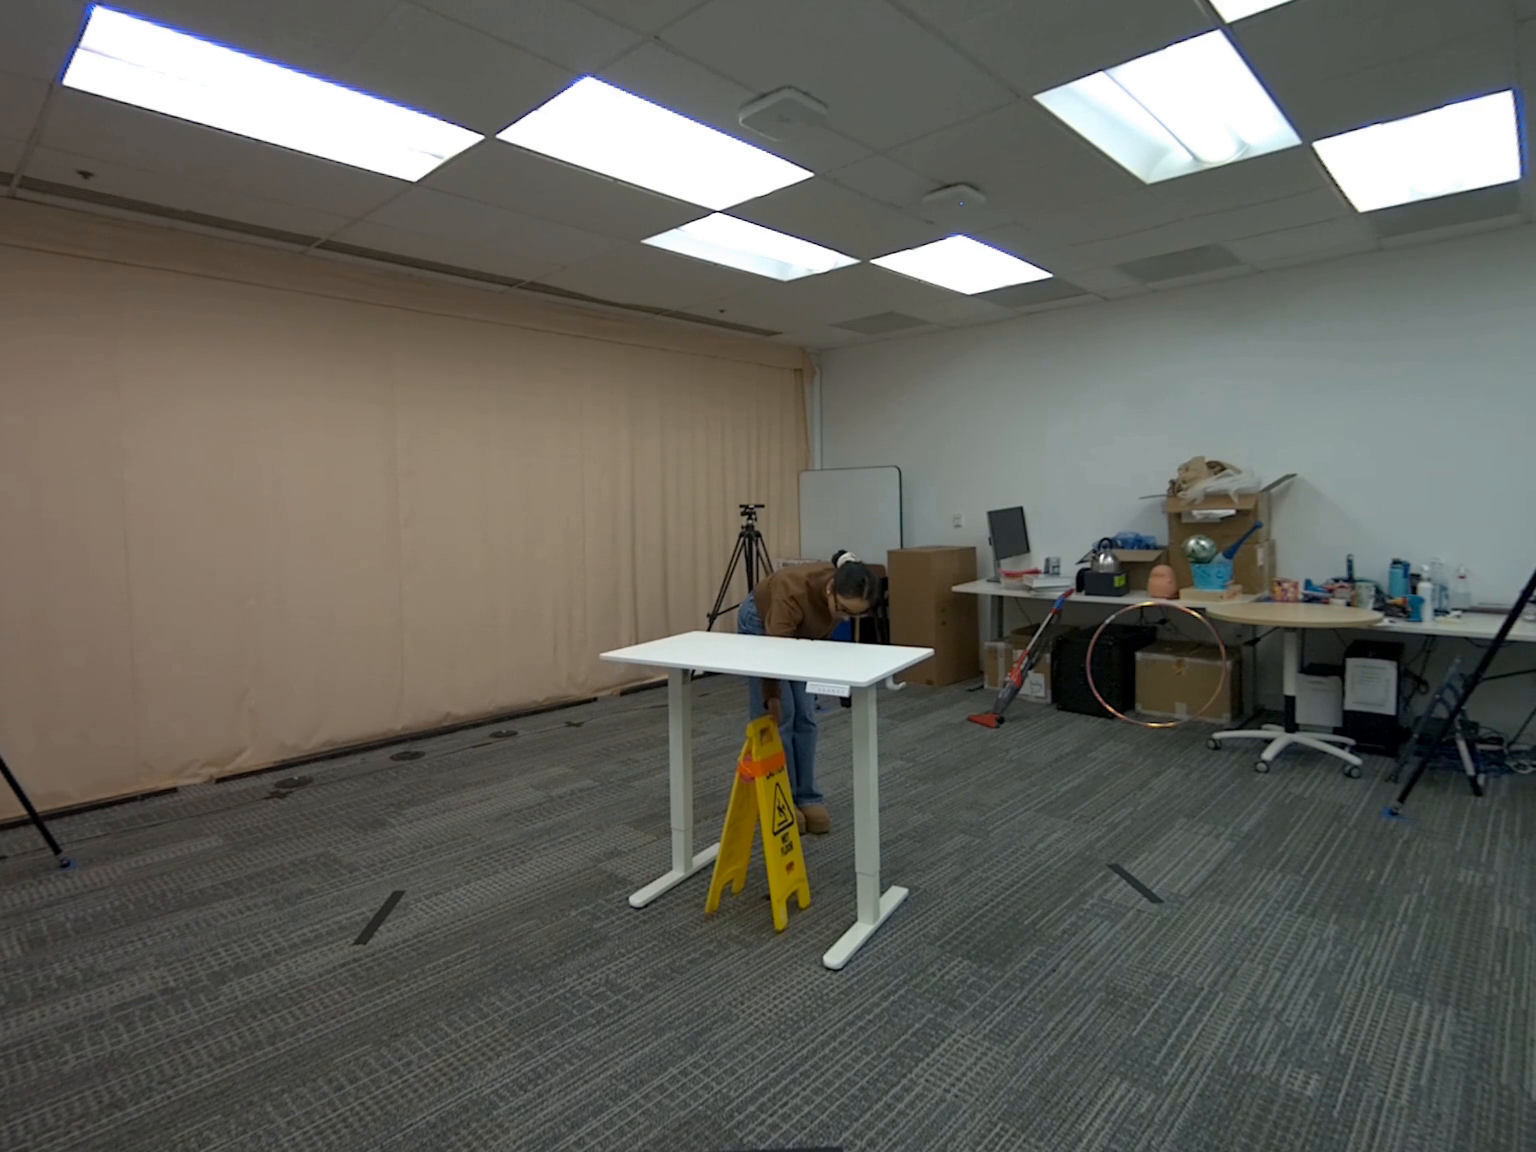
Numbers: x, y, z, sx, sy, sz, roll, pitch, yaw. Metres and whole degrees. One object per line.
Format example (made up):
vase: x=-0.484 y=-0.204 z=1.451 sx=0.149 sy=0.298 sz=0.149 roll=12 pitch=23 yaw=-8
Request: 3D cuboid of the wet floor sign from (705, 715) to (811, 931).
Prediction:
wet floor sign: x=-0.026 y=0.812 z=2.897 sx=0.297 sy=0.646 sz=0.275 roll=0 pitch=-1 yaw=25
